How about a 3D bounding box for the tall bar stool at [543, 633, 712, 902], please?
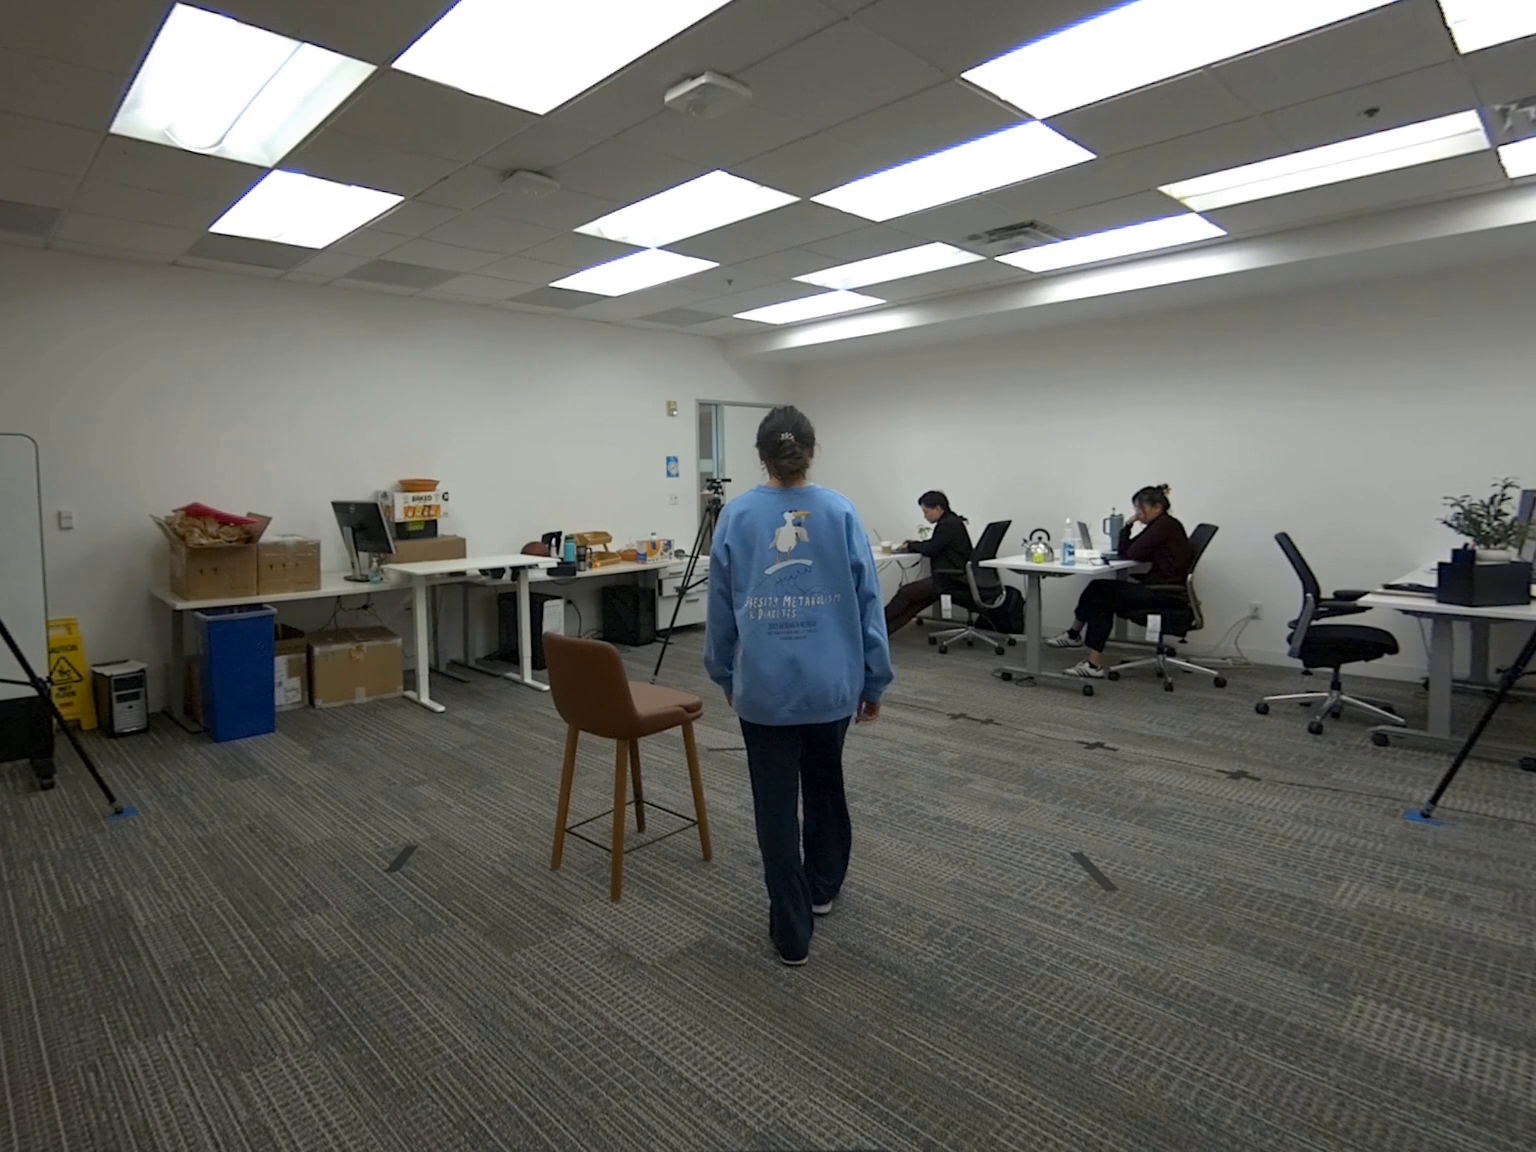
[{"bbox_3d":[-0.516,0.618,3.092,0.470,0.885,0.456,3,8,43],"label":"tall bar stool"}]
